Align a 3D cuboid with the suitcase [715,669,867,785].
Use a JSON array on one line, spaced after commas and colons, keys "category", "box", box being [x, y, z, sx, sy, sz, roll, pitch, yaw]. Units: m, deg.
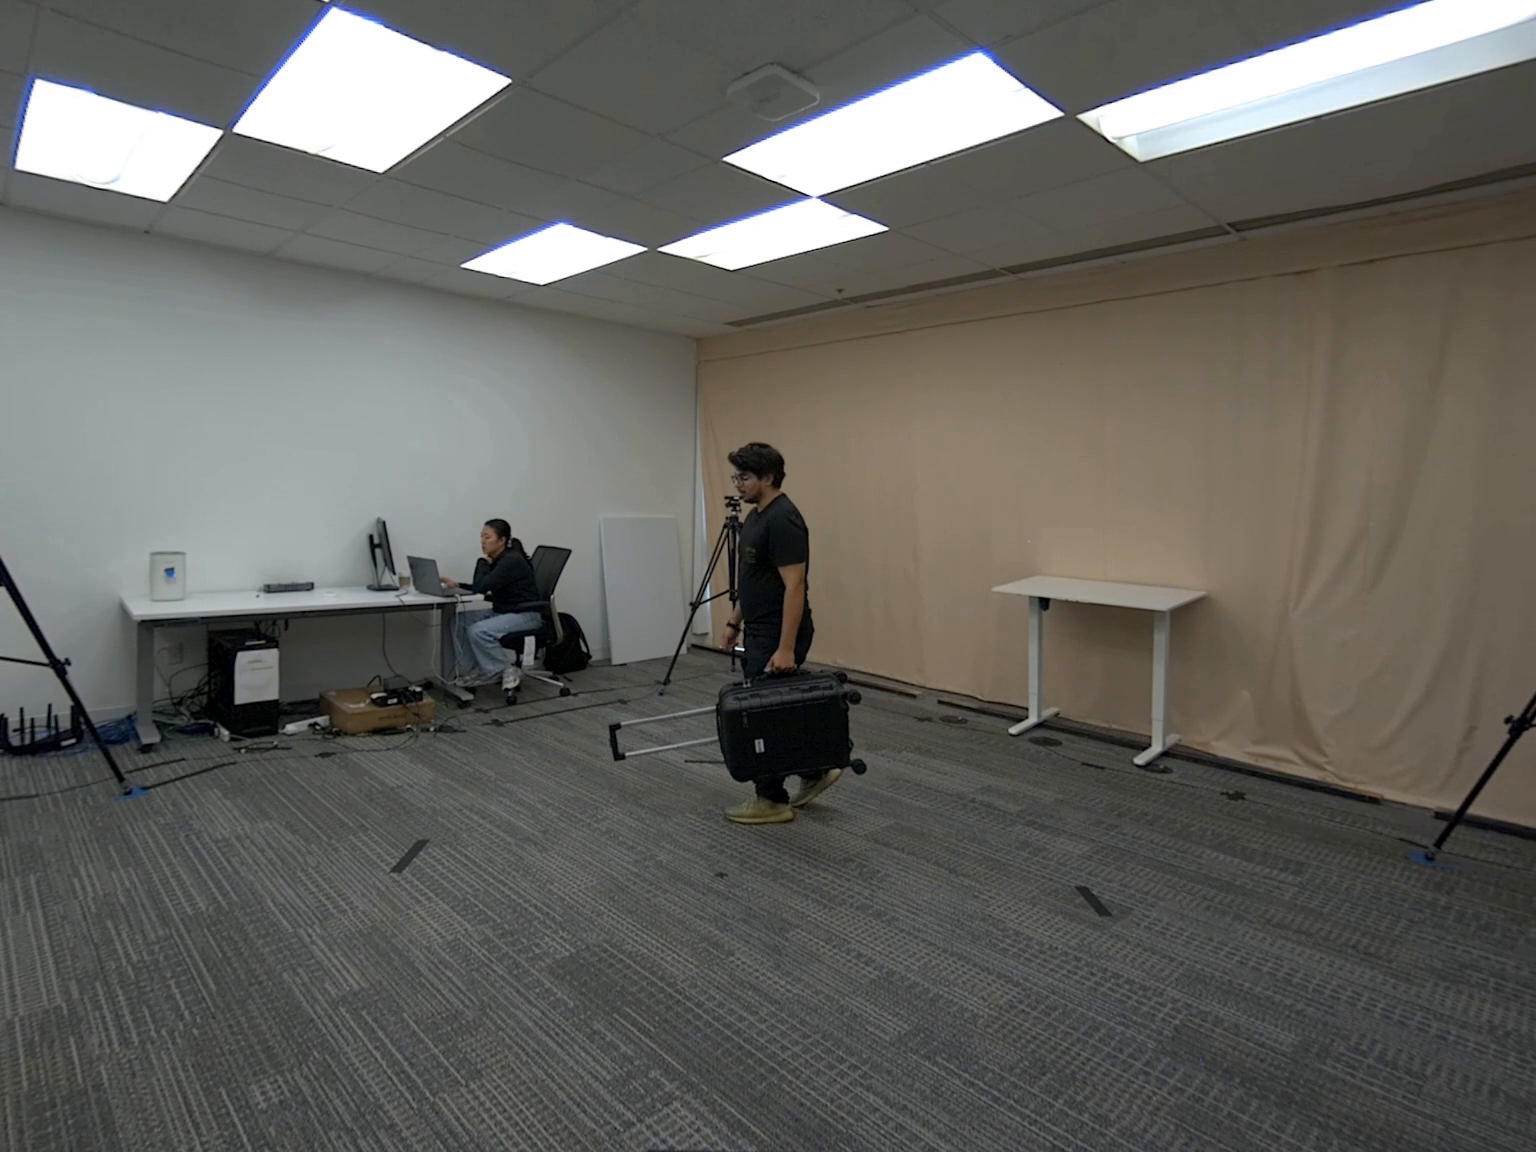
[{"category": "suitcase", "box": [-0.135, 0.613, 3.308, 0.973, 0.380, 0.261, -6, 12, -7]}]
